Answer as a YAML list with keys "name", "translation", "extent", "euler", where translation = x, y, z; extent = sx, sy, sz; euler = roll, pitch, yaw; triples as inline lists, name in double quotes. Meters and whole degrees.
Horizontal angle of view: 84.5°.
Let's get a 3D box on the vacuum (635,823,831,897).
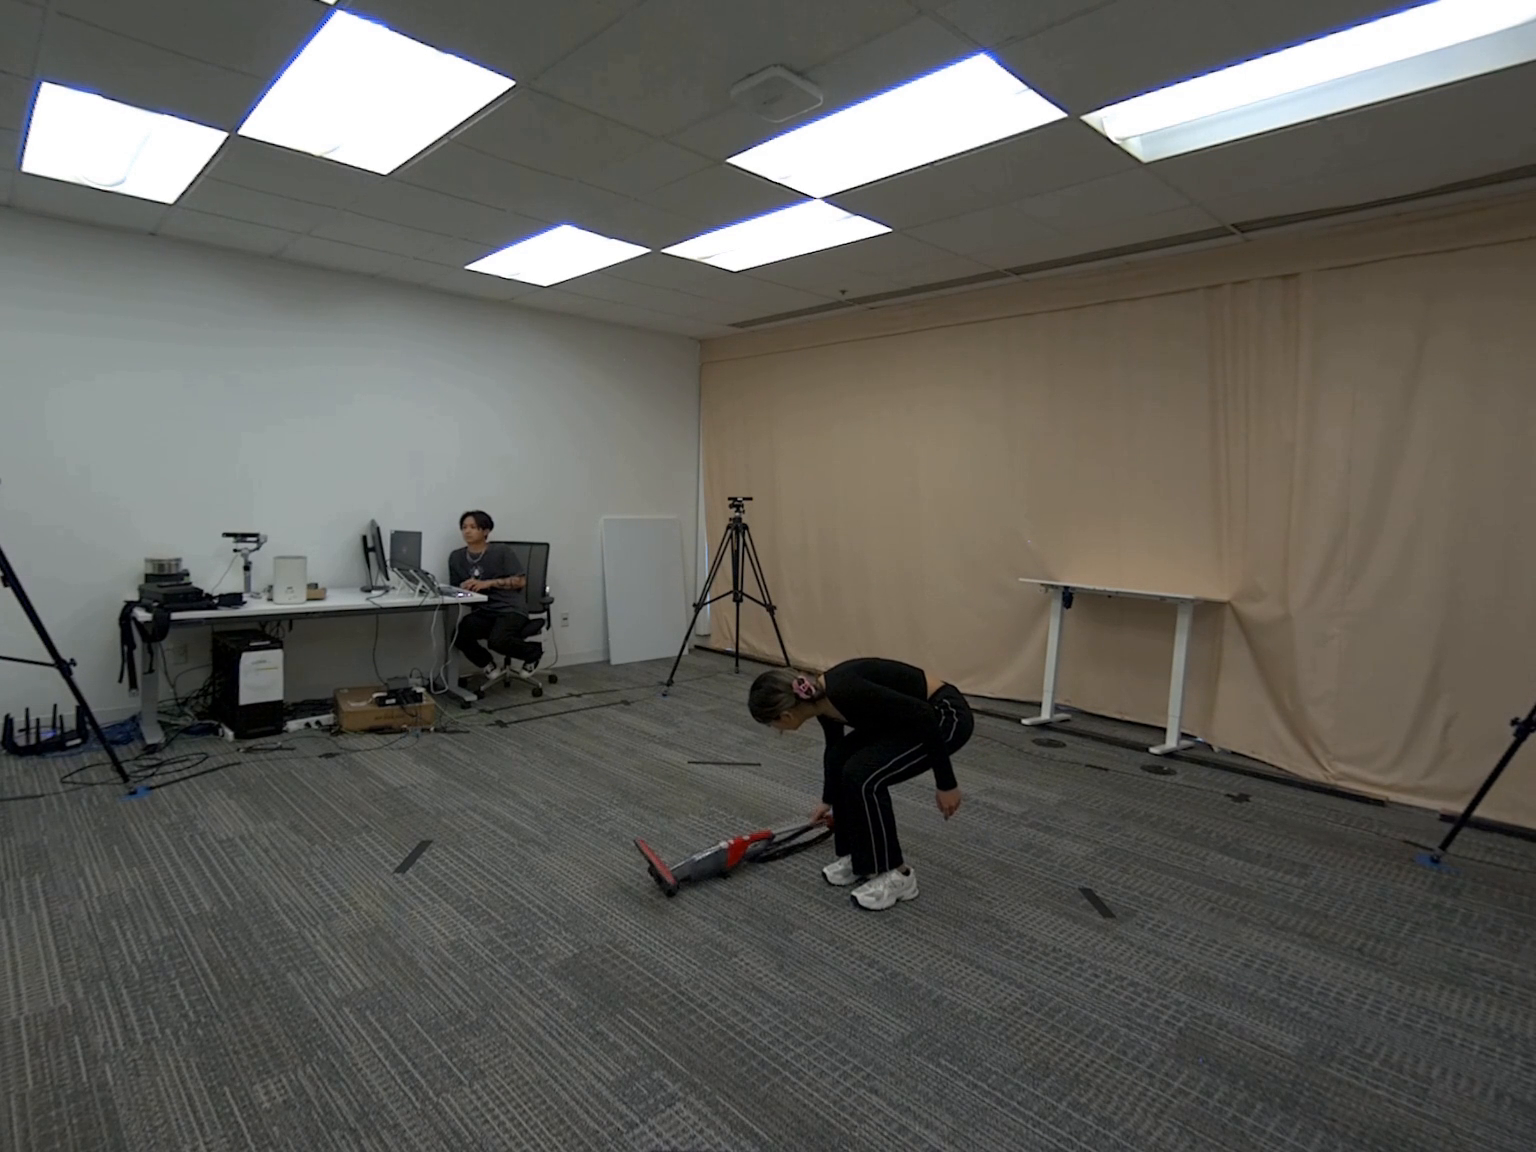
- name: "vacuum"
  translation: [-0.008, 1.035, 3.263]
  extent: [1.024, 0.143, 0.260]
  euler: [1, 18, -40]
